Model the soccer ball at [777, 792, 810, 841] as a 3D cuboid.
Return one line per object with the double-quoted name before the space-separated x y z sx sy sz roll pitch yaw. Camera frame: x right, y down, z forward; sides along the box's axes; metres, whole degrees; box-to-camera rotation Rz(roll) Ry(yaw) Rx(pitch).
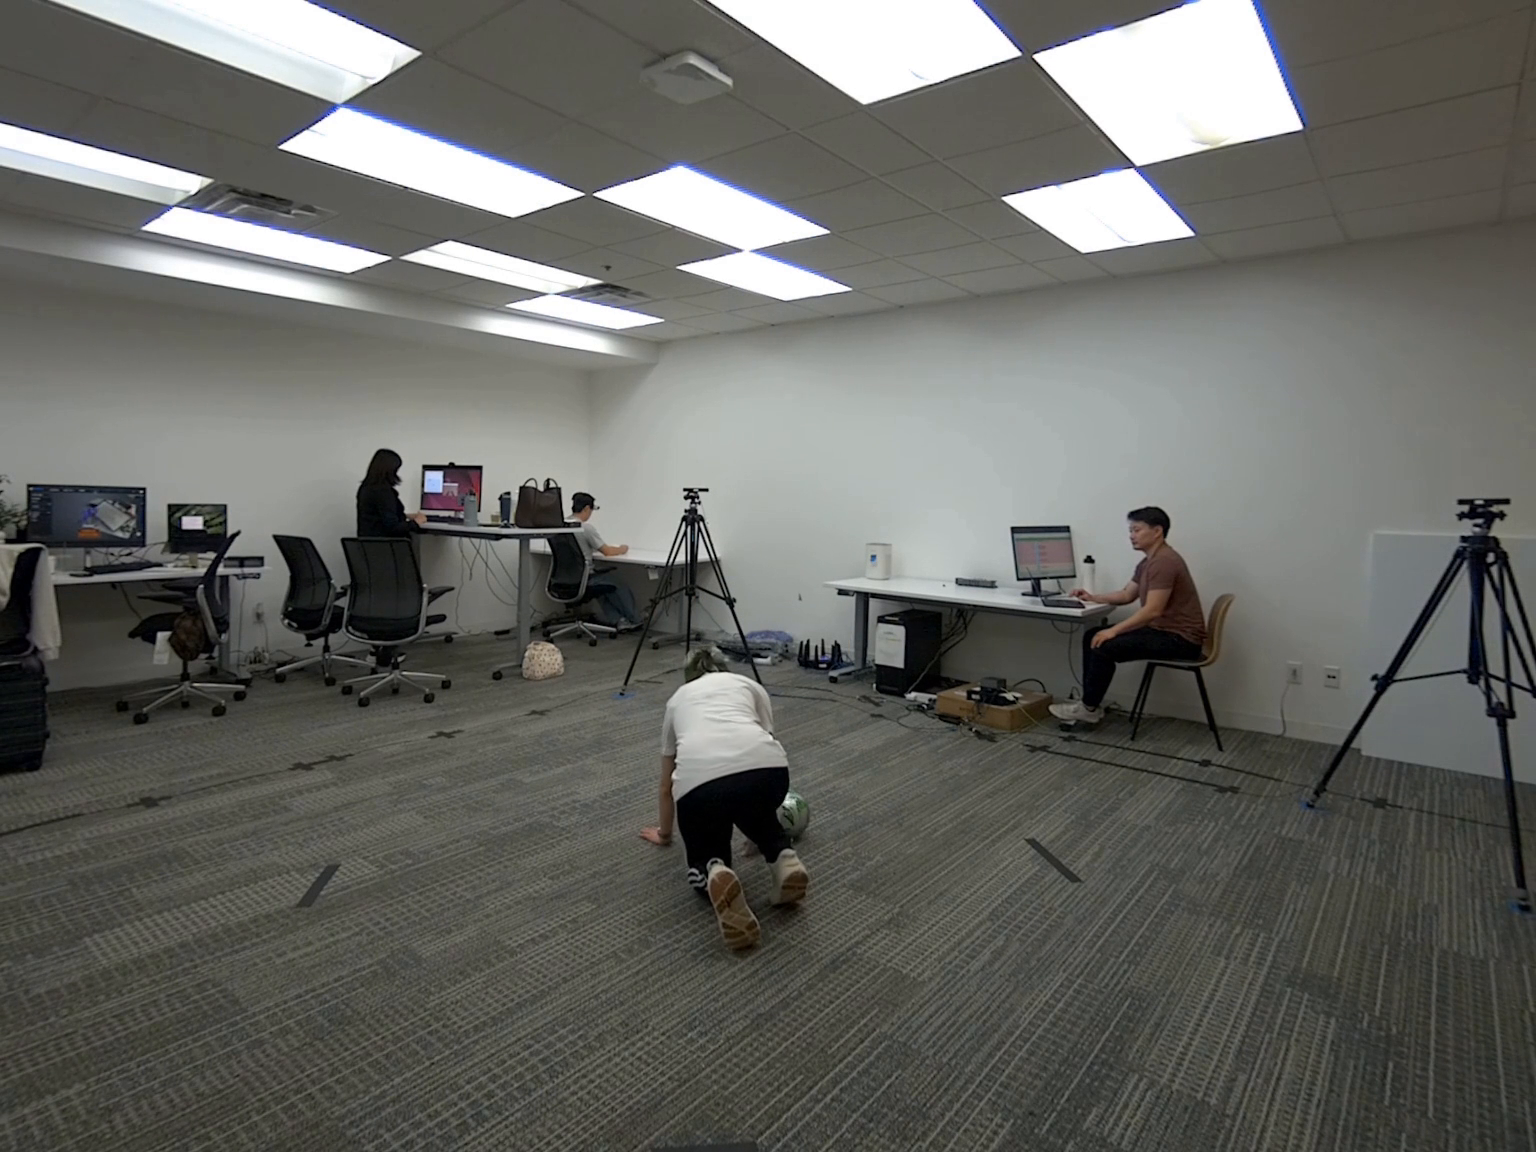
"soccer ball" 0.074 0.951 3.418 0.187 0.187 0.188 1 4 -2
